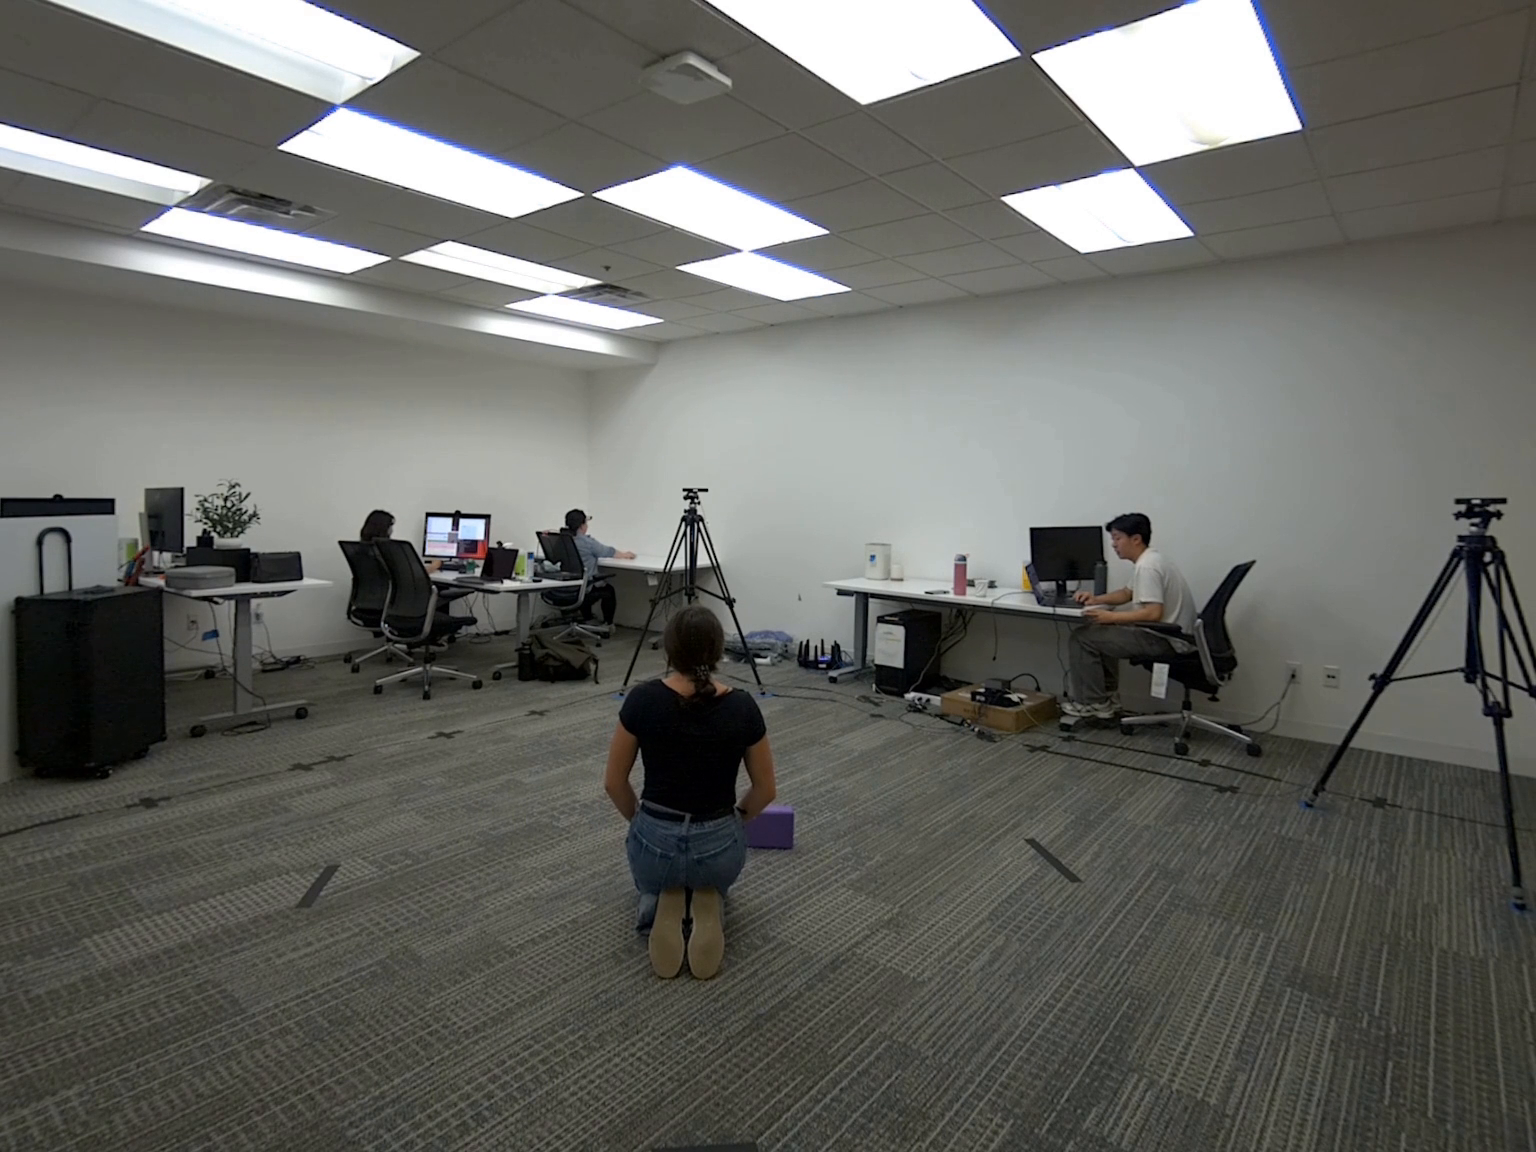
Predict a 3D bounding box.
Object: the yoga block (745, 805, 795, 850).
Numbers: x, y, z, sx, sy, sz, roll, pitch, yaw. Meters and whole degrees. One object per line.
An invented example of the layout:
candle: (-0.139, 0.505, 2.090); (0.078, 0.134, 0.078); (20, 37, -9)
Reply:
yoga block: (-0.014, 0.968, 3.331); (0.230, 0.149, 0.076); (1, 2, 1)
